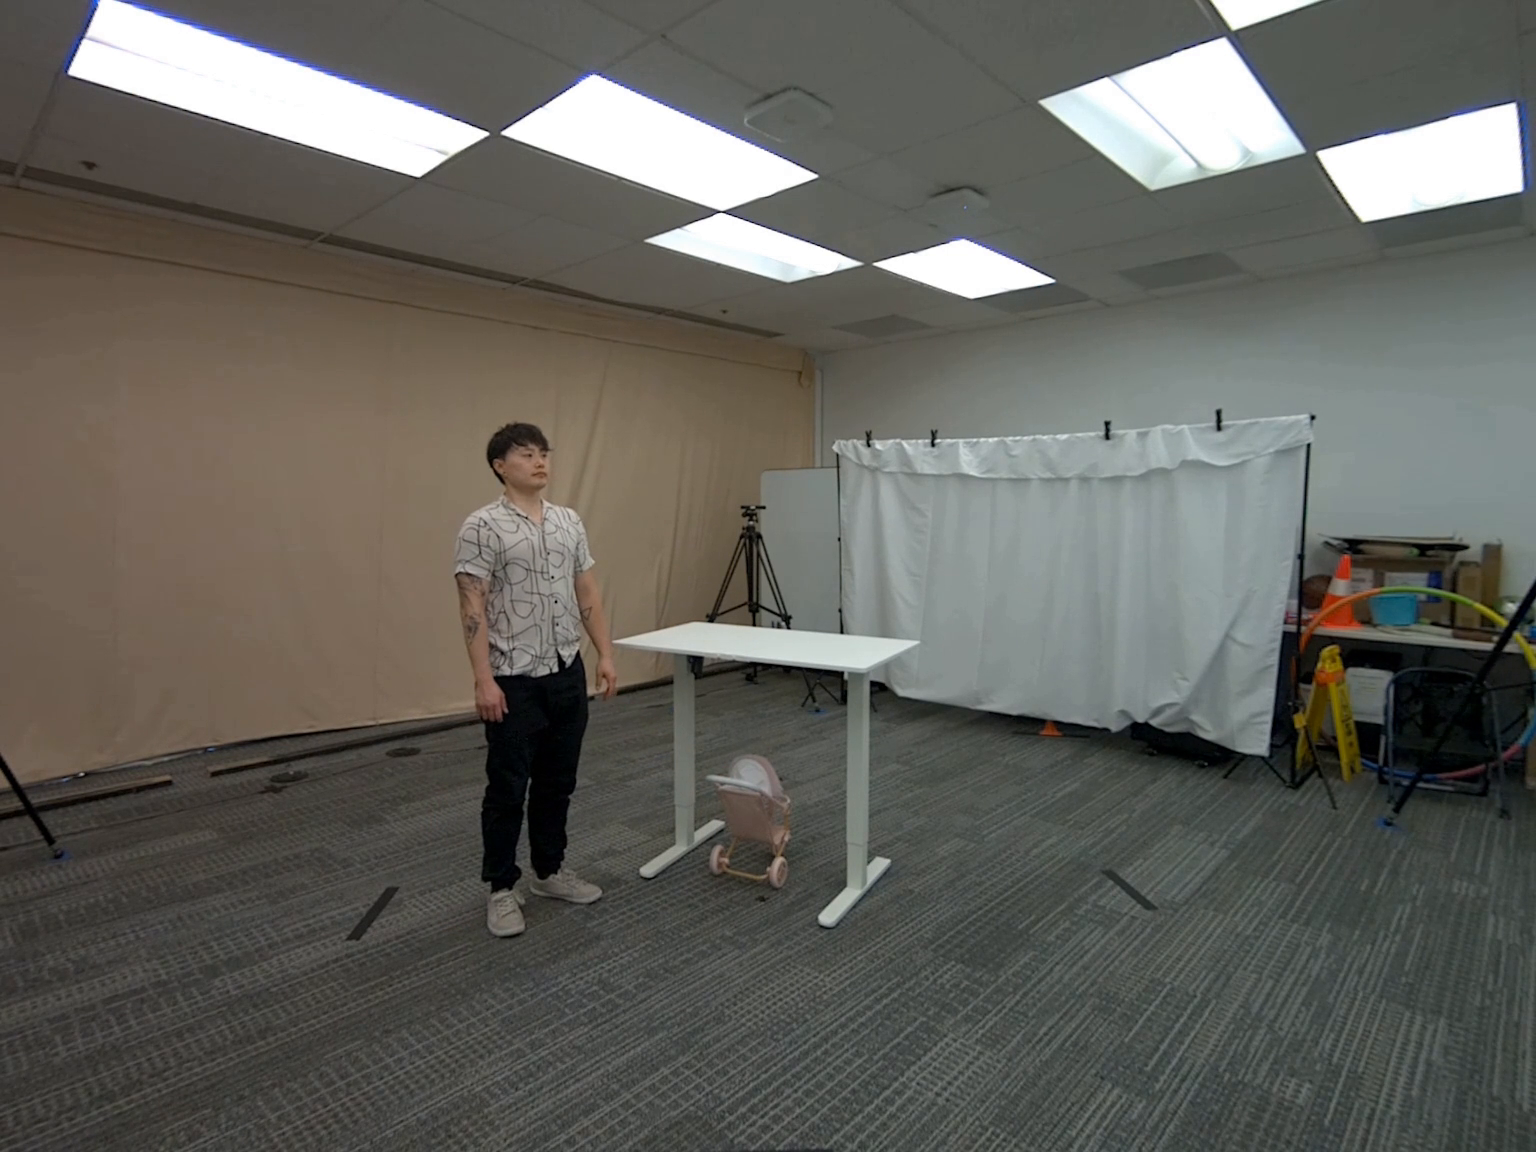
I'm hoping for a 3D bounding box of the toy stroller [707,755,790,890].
[{"bbox_3d":[-0.046,0.901,3.163,0.290,0.528,0.336,2,20,30],"label":"toy stroller"}]
